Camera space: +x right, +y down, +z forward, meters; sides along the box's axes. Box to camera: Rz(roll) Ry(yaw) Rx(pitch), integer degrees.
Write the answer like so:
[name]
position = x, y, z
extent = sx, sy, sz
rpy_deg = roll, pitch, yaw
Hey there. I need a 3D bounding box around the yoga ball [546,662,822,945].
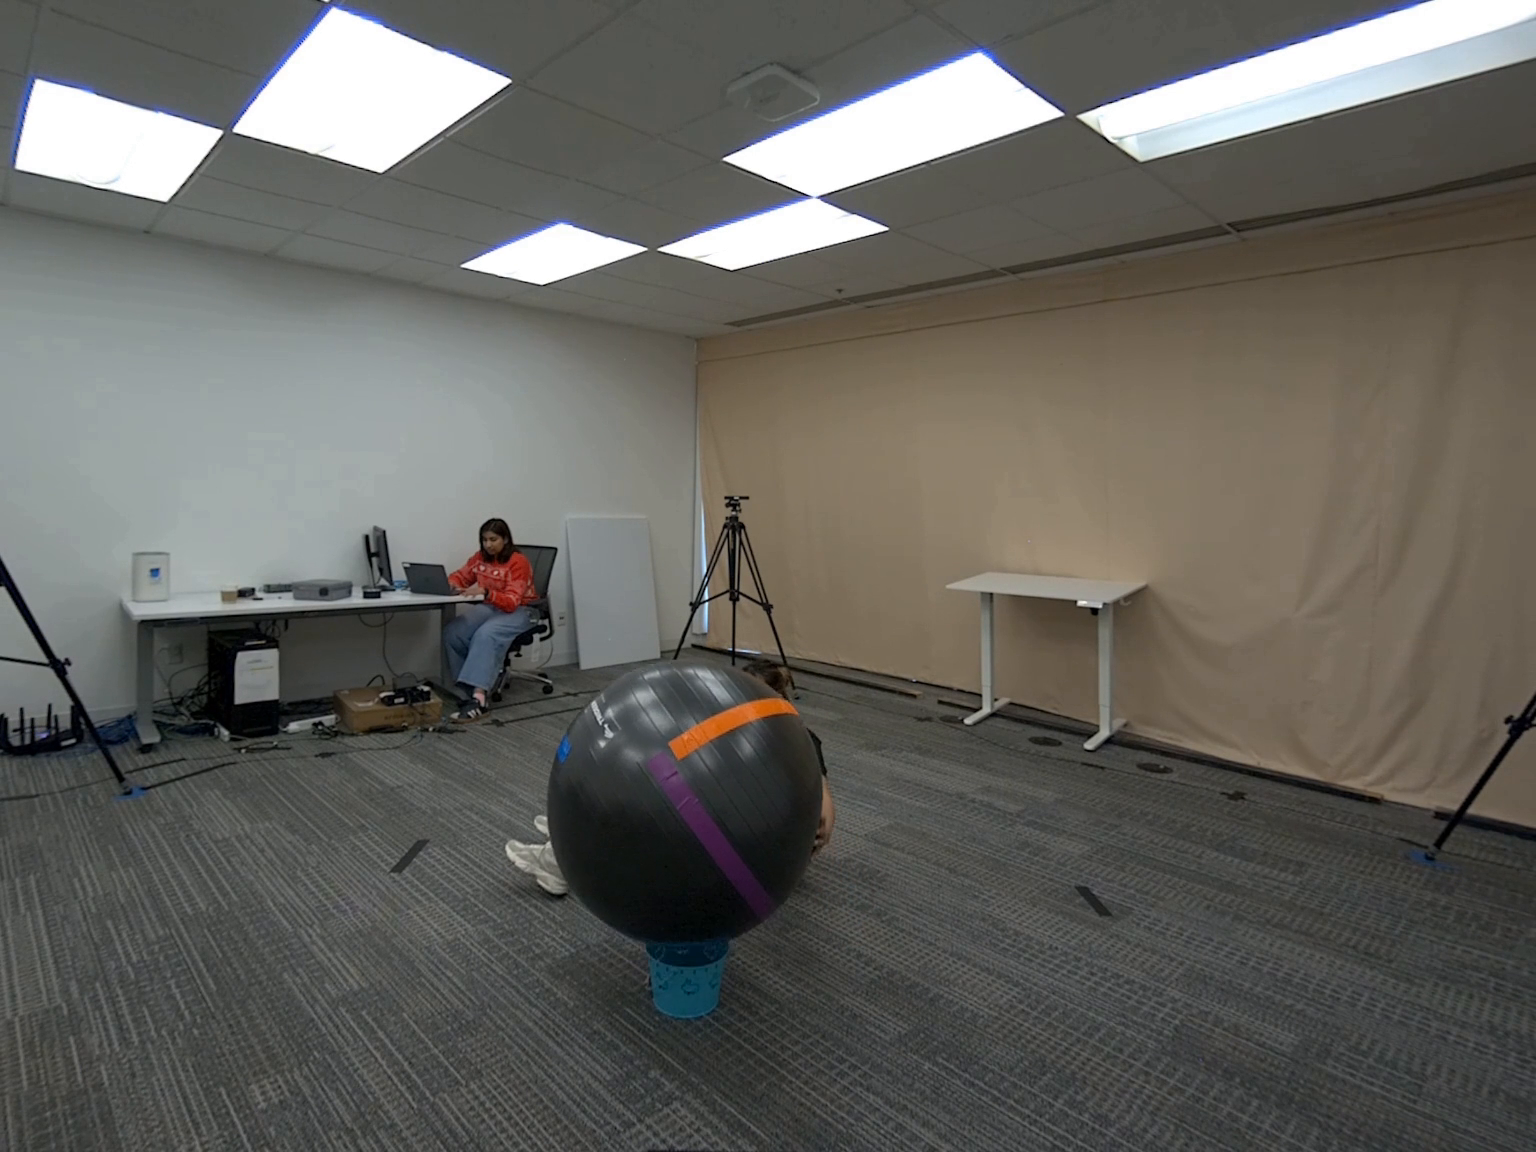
[yoga ball]
position = -0.229, 0.607, 2.324
extent = 0.757, 0.756, 0.761
rpy_deg = 1, 4, -1
